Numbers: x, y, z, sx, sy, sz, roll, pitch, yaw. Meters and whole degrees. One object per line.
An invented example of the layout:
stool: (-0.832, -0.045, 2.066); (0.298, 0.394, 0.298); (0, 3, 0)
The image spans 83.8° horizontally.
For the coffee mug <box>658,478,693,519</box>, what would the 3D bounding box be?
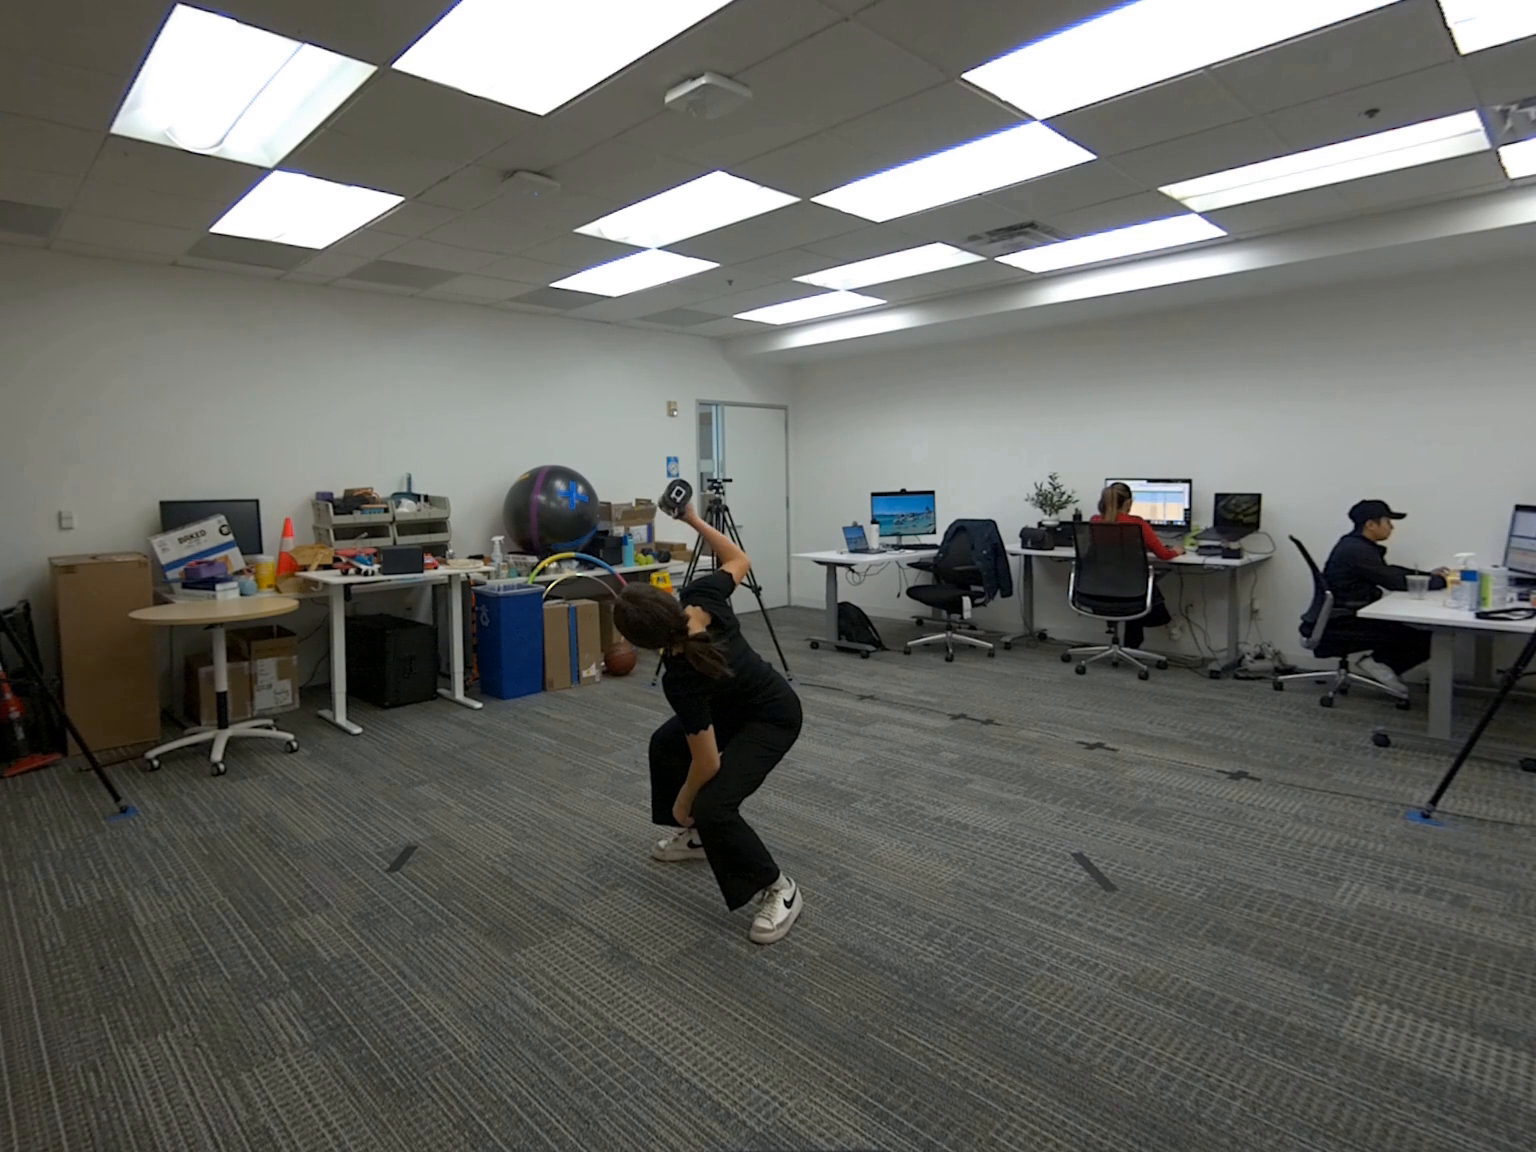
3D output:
coffee mug: (-0.330, -0.254, 2.898); (0.086, 0.123, 0.204); (21, -15, -15)
